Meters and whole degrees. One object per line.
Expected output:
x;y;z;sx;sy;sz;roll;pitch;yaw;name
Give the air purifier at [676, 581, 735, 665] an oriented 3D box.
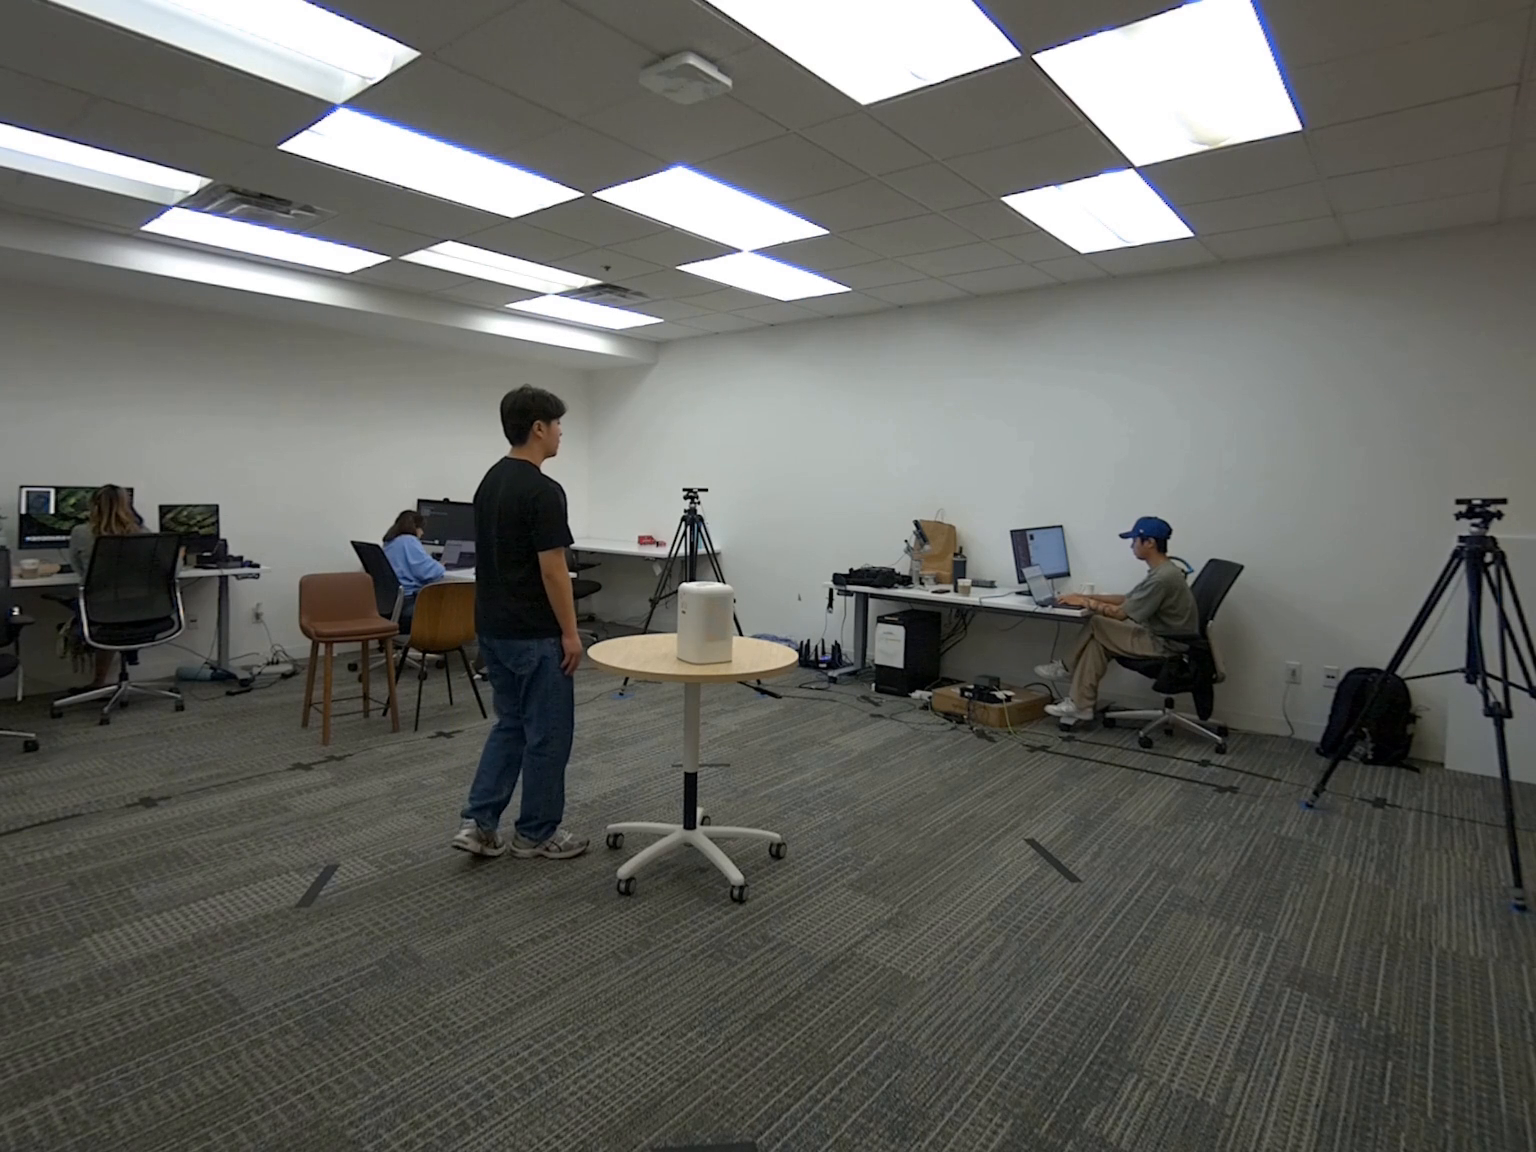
-0.228;0.154;2.966;0.167;0.264;0.176;-1;4;-31;air purifier
